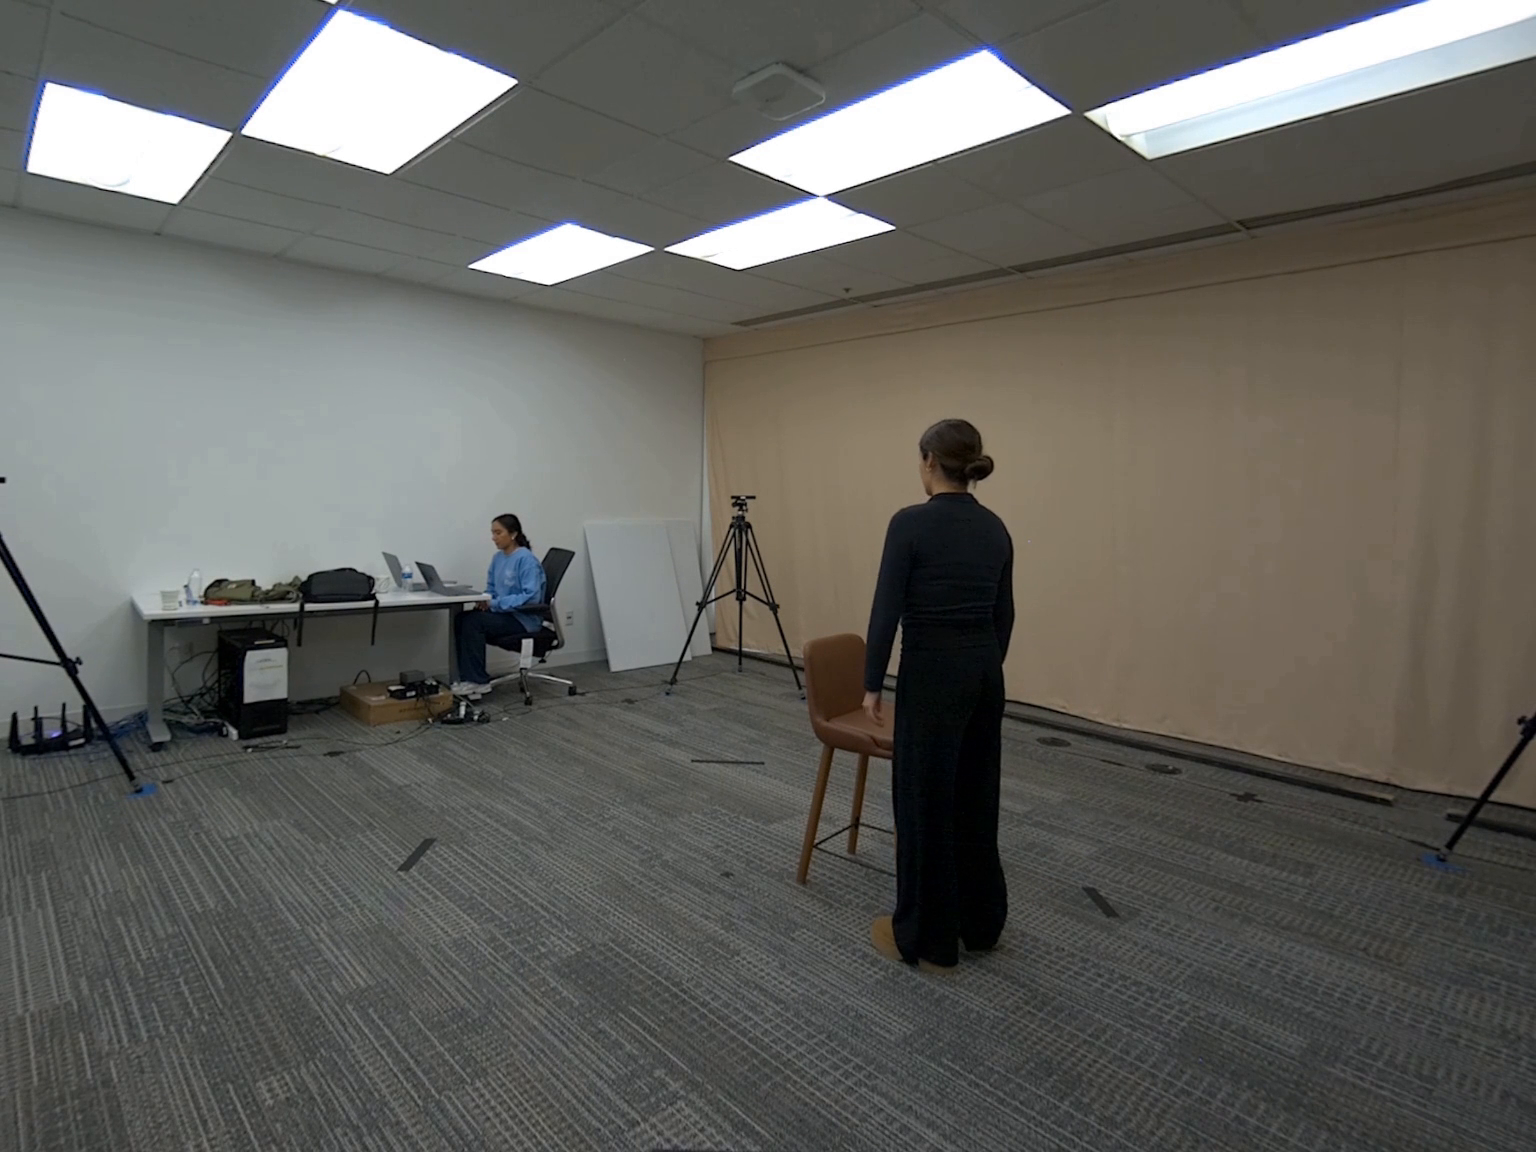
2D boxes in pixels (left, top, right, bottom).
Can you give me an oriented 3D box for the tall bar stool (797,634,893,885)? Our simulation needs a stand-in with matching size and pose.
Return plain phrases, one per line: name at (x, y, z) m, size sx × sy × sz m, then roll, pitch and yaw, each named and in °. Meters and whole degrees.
tall bar stool at (0.398, 0.687, 3.031) m, size 0.479 × 0.888 × 0.446 m, roll 2°, pitch 3°, yaw 39°
